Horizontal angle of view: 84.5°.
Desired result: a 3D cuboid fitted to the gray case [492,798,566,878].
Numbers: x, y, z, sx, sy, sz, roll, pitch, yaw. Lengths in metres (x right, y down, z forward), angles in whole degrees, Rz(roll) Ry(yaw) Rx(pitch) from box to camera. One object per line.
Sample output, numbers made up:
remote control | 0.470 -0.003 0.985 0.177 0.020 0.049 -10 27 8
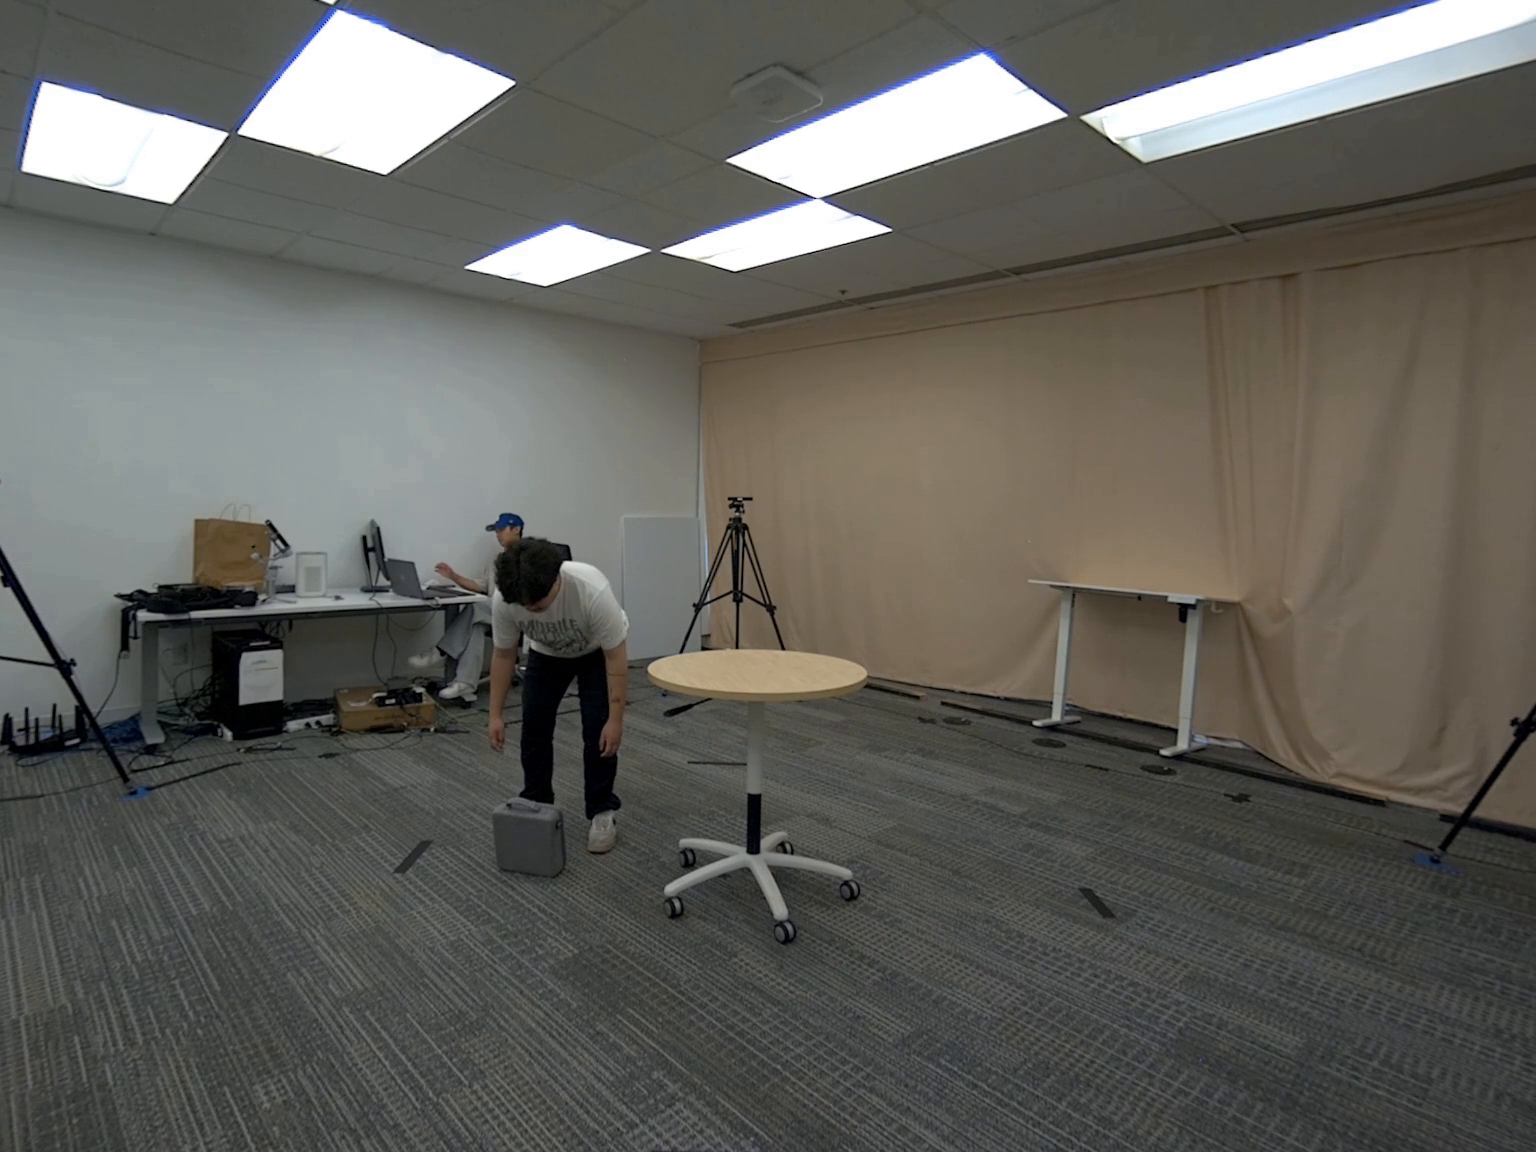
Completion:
gray case | -0.890 0.973 3.084 0.260 0.257 0.104 3 18 14
